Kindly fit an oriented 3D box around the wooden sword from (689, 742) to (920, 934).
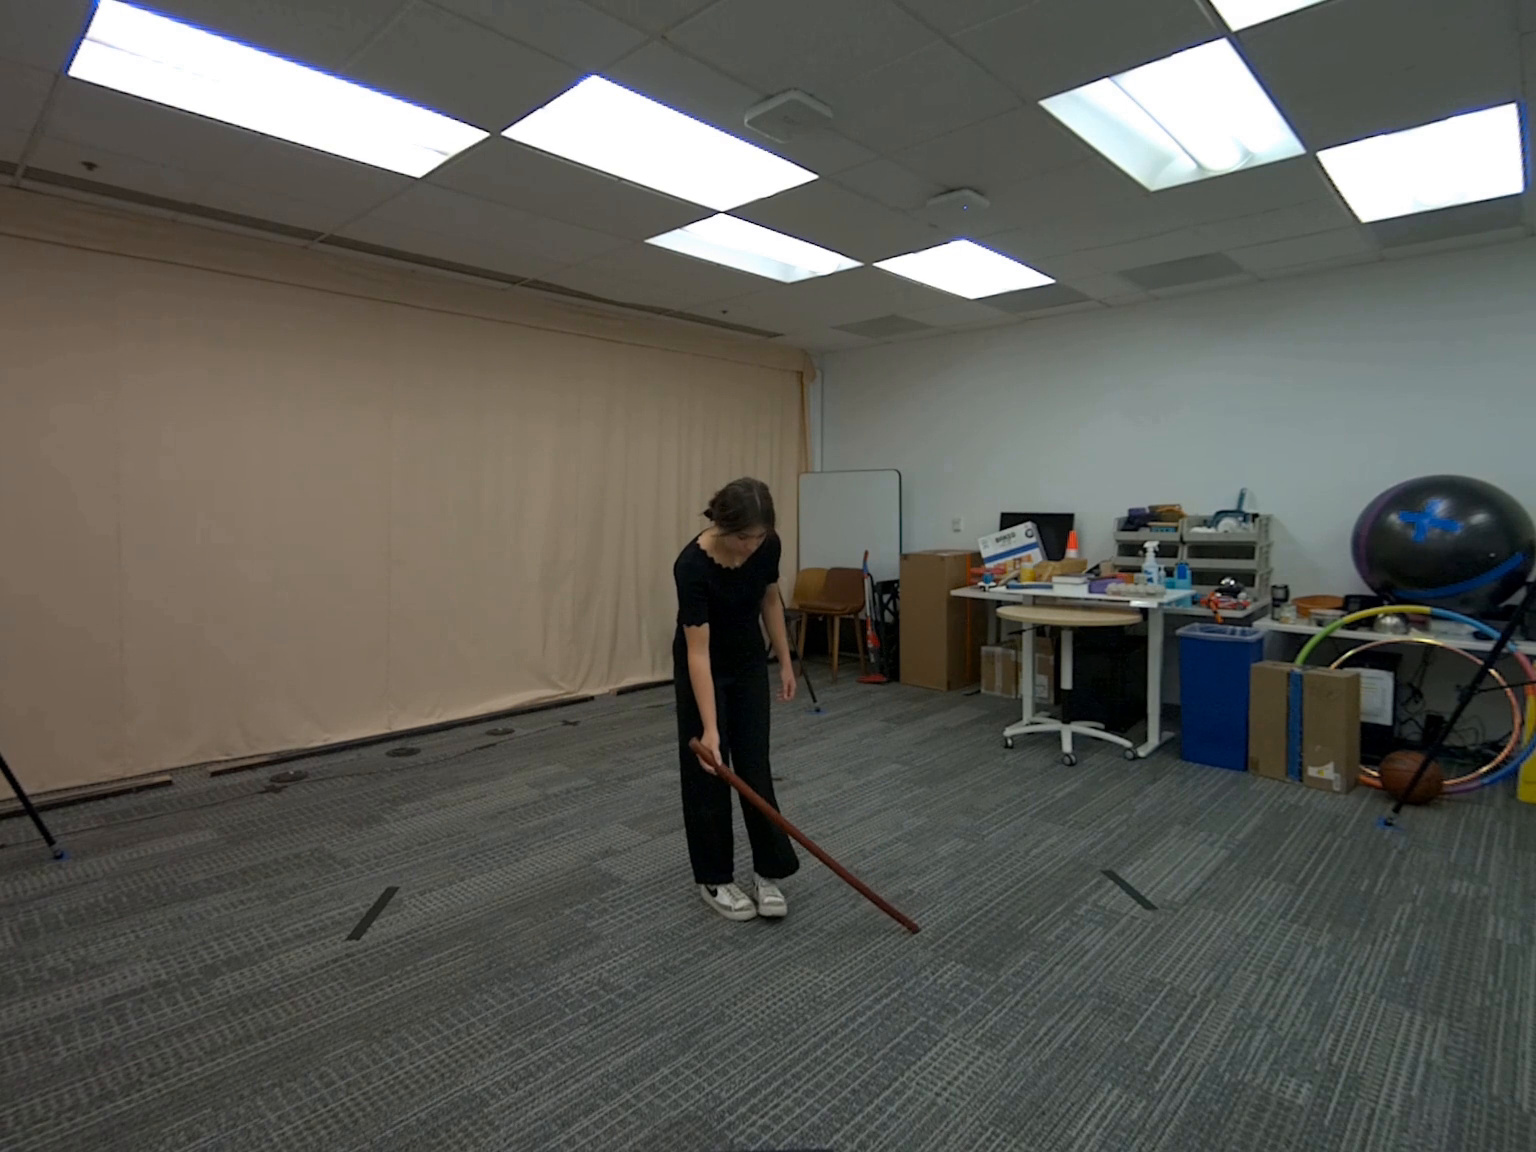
[{"bbox_3d":[0.141,0.846,2.625,1.006,0.024,0.052,41,-11,-15],"label":"wooden sword"}]
